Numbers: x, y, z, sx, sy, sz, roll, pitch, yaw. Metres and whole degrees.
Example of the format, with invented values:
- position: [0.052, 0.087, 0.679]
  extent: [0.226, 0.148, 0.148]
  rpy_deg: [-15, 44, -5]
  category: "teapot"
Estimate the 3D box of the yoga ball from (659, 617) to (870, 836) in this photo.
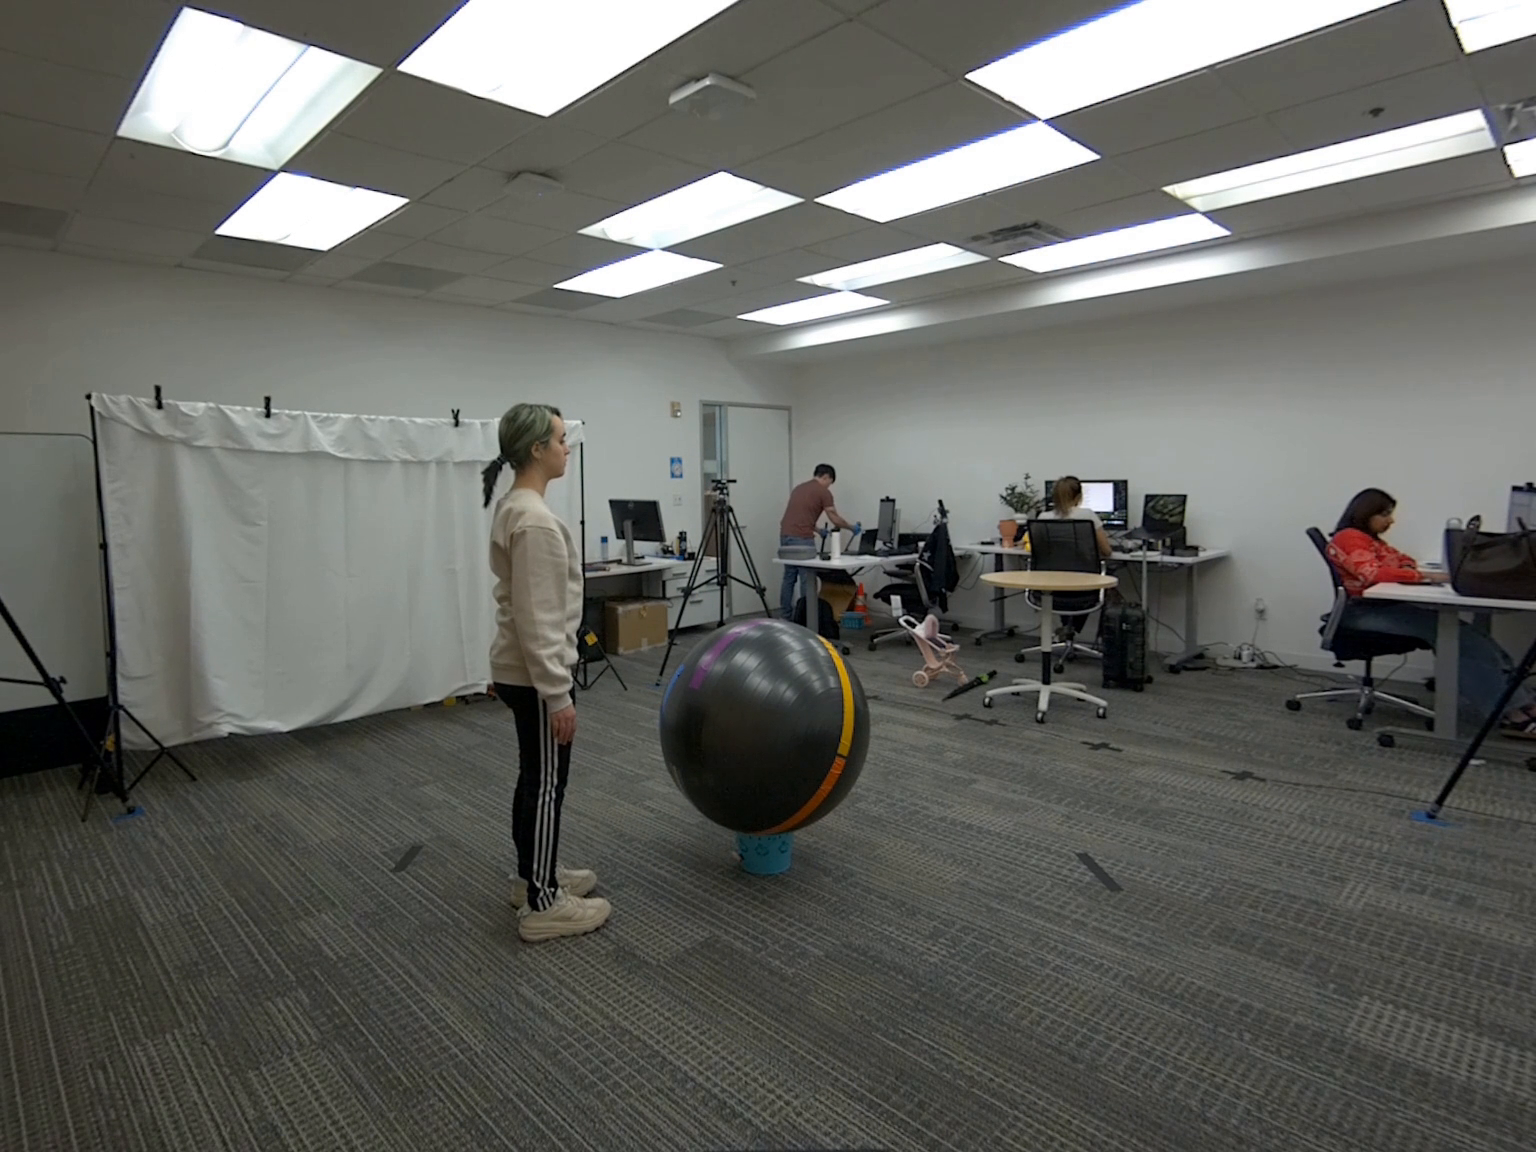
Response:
- position: [-0.017, 0.533, 3.085]
  extent: [0.757, 0.755, 0.762]
  rpy_deg: [-1, 5, -2]
  category: "yoga ball"
